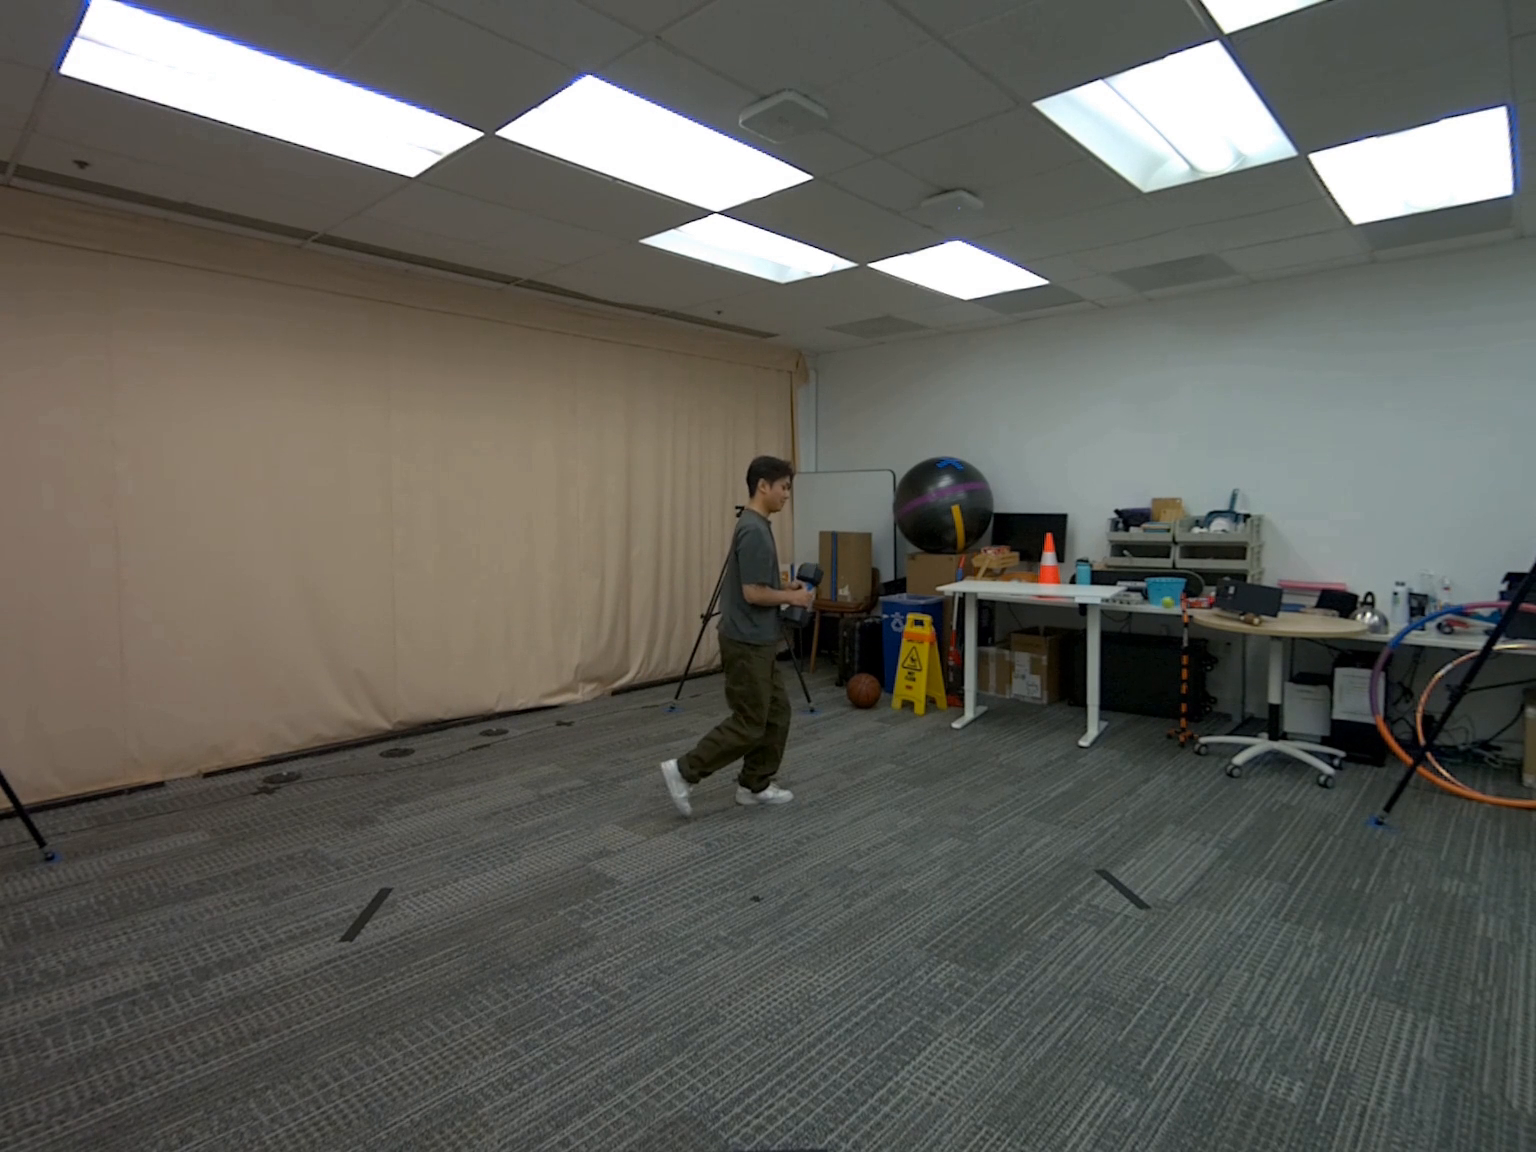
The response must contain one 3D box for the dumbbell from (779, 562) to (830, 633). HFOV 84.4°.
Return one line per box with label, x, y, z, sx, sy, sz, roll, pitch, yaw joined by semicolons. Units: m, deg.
dumbbell;0.162;0.094;3.880;0.112;0.295;0.118;0;-24;44
